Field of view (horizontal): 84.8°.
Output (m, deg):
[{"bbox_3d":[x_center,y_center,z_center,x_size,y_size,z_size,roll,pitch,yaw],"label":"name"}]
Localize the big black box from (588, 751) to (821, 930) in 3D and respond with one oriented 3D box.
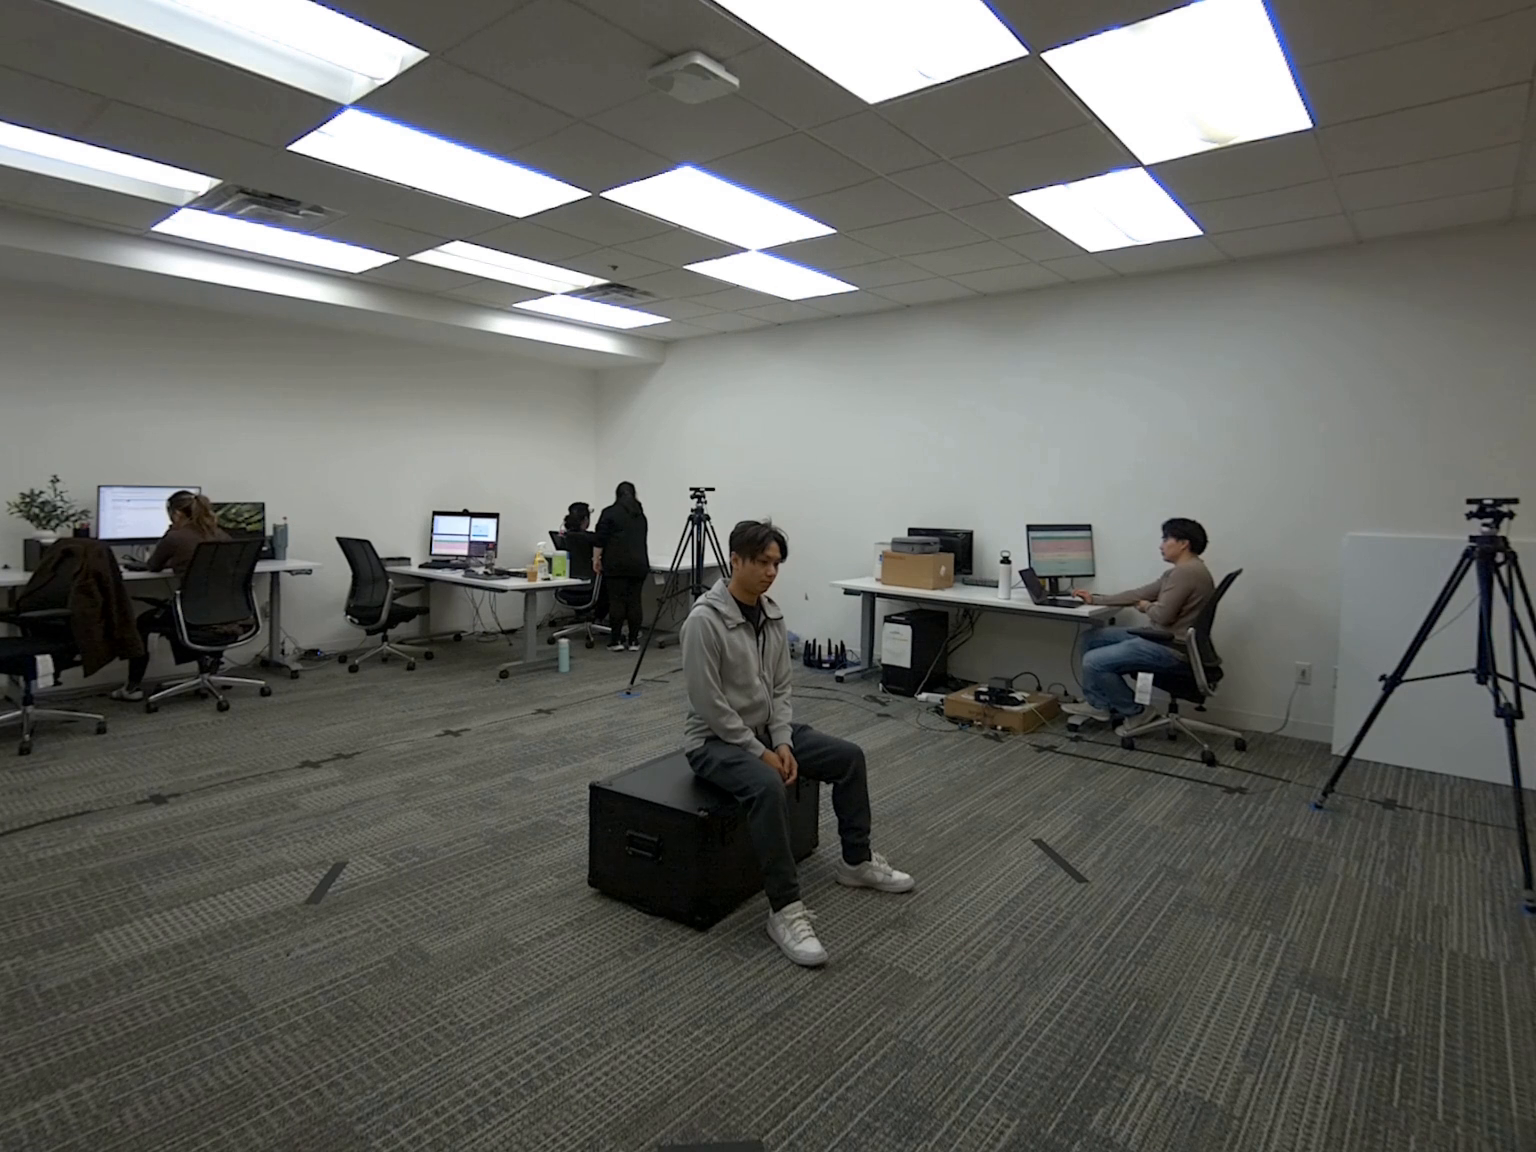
[{"bbox_3d":[-0.240,0.887,3.060,0.537,0.395,0.838,4,6,32],"label":"big black box"}]
